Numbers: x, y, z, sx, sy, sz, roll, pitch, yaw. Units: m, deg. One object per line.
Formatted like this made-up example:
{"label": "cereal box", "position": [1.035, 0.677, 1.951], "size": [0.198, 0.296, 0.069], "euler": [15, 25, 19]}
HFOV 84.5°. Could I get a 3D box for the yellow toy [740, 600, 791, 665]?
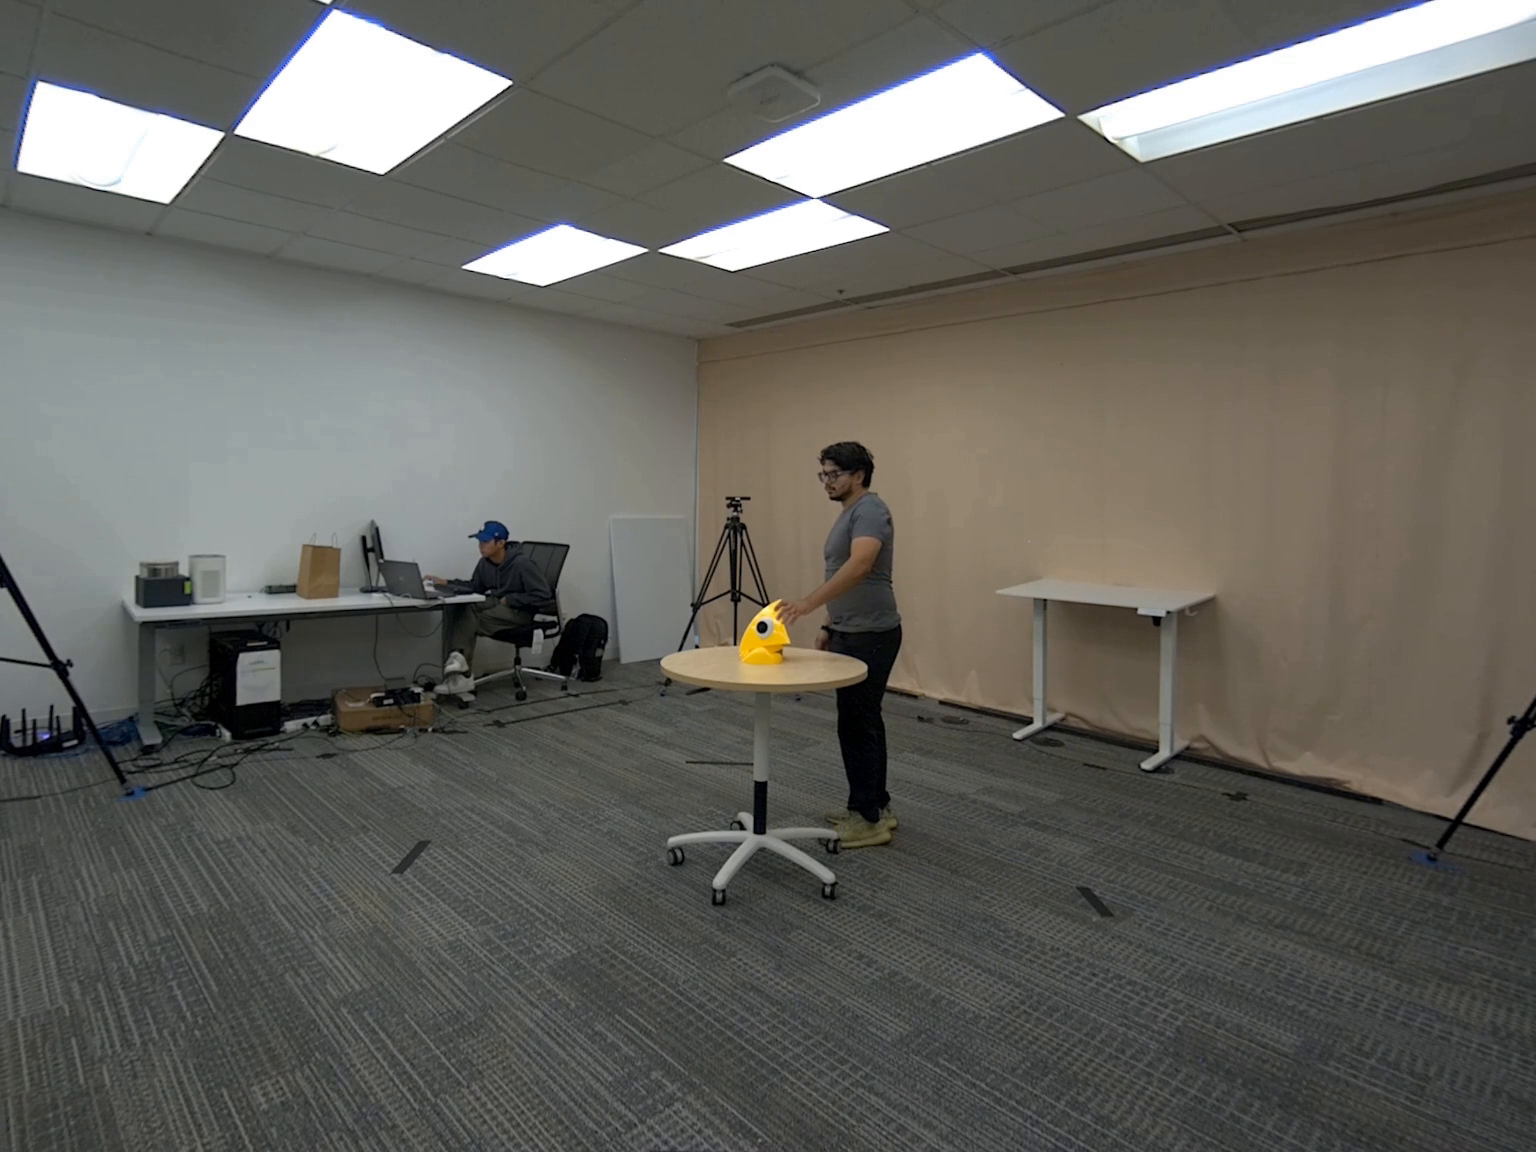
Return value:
{"label": "yellow toy", "position": [-0.022, 0.204, 3.198], "size": [0.192, 0.230, 0.206], "euler": [1, 4, -4]}
